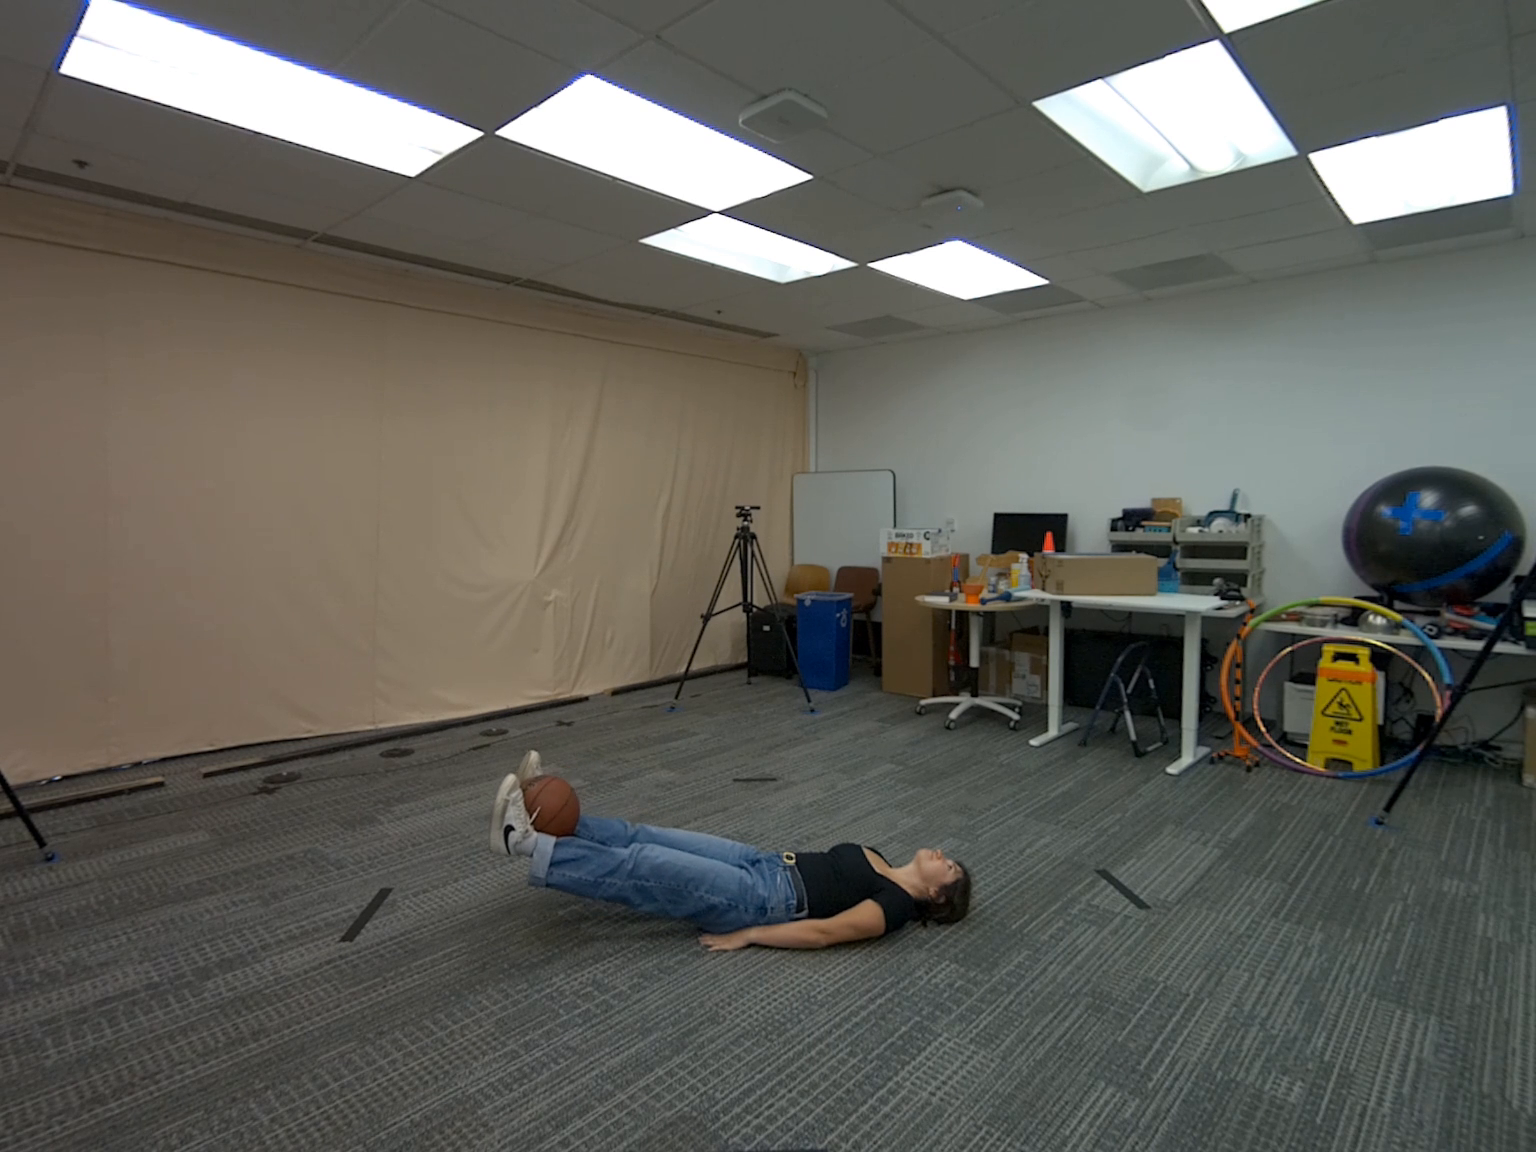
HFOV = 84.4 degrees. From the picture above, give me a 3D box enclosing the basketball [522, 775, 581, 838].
[{"bbox_3d":[-0.741,0.779,2.793,0.236,0.235,0.237,0,4,-2],"label":"basketball"}]
